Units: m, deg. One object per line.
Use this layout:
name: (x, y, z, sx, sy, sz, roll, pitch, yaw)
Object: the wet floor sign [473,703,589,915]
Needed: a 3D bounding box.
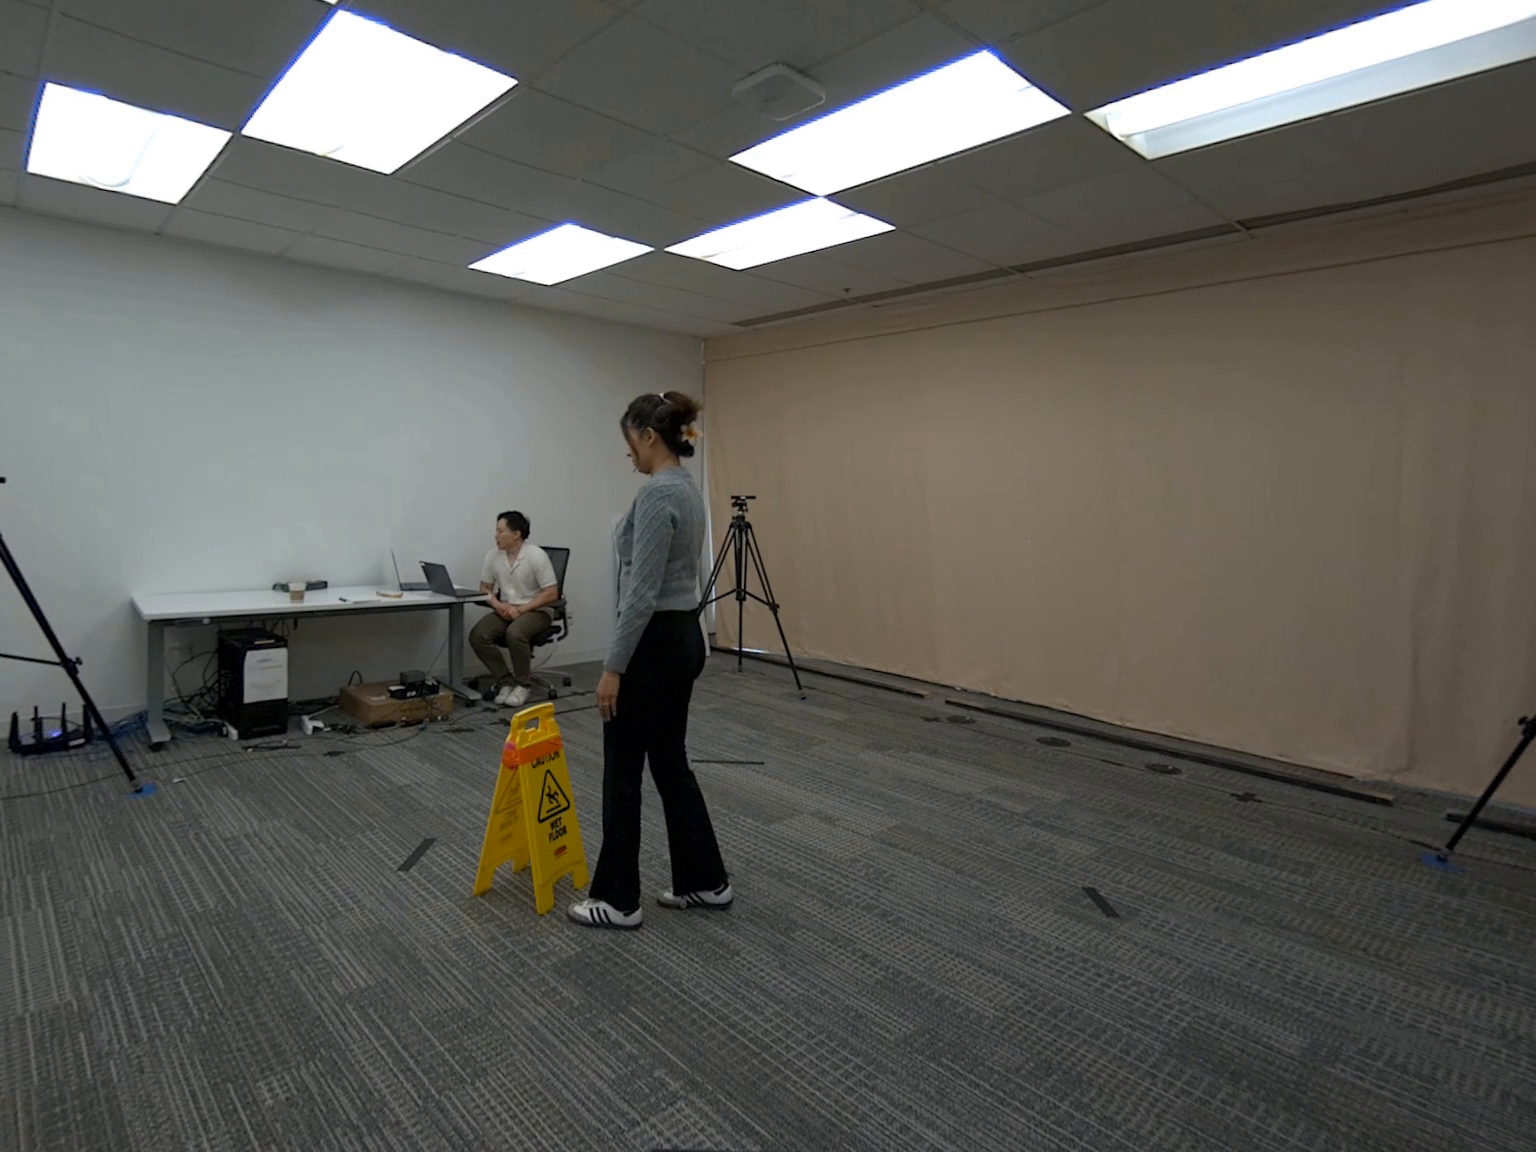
wet floor sign: (-0.832, 0.783, 2.938, 0.295, 0.645, 0.277, 2, 3, 25)
